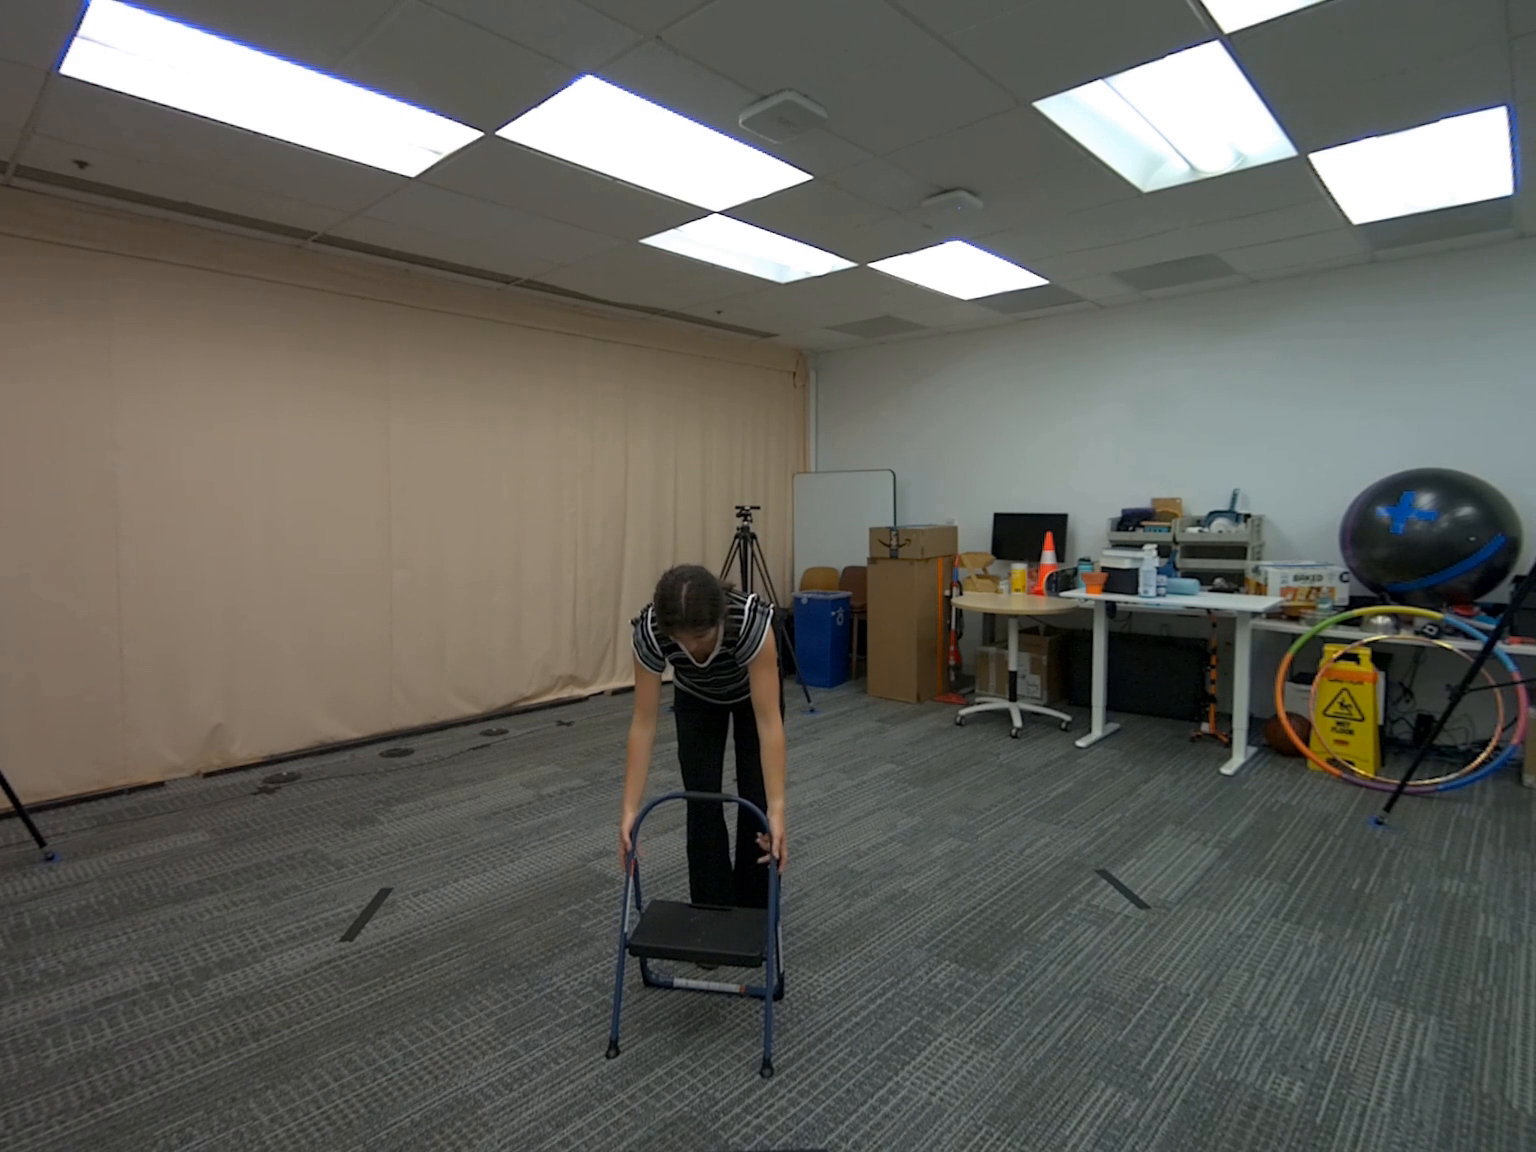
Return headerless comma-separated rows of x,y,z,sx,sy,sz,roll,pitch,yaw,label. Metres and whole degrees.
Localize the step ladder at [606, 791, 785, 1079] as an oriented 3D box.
-0.182,0.903,2.243,0.435,0.605,0.346,0,3,9,step ladder
